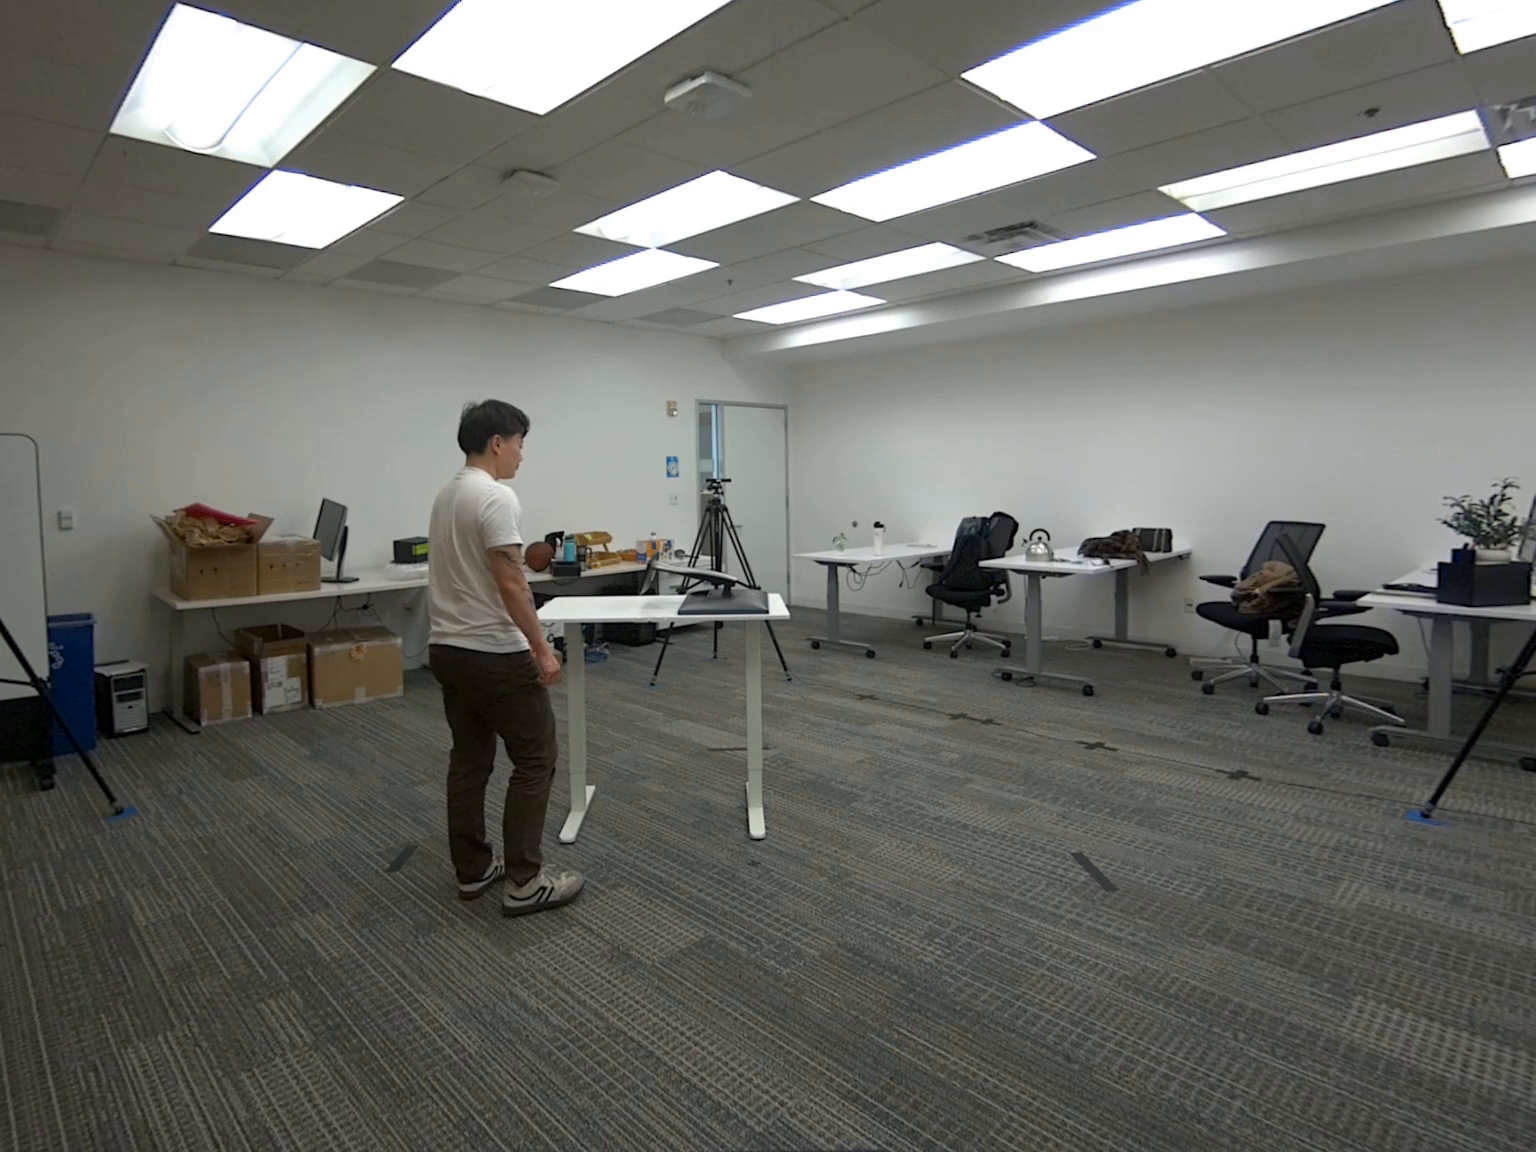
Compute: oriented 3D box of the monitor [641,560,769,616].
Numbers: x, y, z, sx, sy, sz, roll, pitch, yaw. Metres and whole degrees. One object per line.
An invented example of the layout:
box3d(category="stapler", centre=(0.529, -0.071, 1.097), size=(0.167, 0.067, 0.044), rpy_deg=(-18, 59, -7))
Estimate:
box3d(category="monitor", centre=(-0.254, 0.055, 3.547), size=(0.523, 0.186, 0.541), rpy_deg=(16, 8, 0))
